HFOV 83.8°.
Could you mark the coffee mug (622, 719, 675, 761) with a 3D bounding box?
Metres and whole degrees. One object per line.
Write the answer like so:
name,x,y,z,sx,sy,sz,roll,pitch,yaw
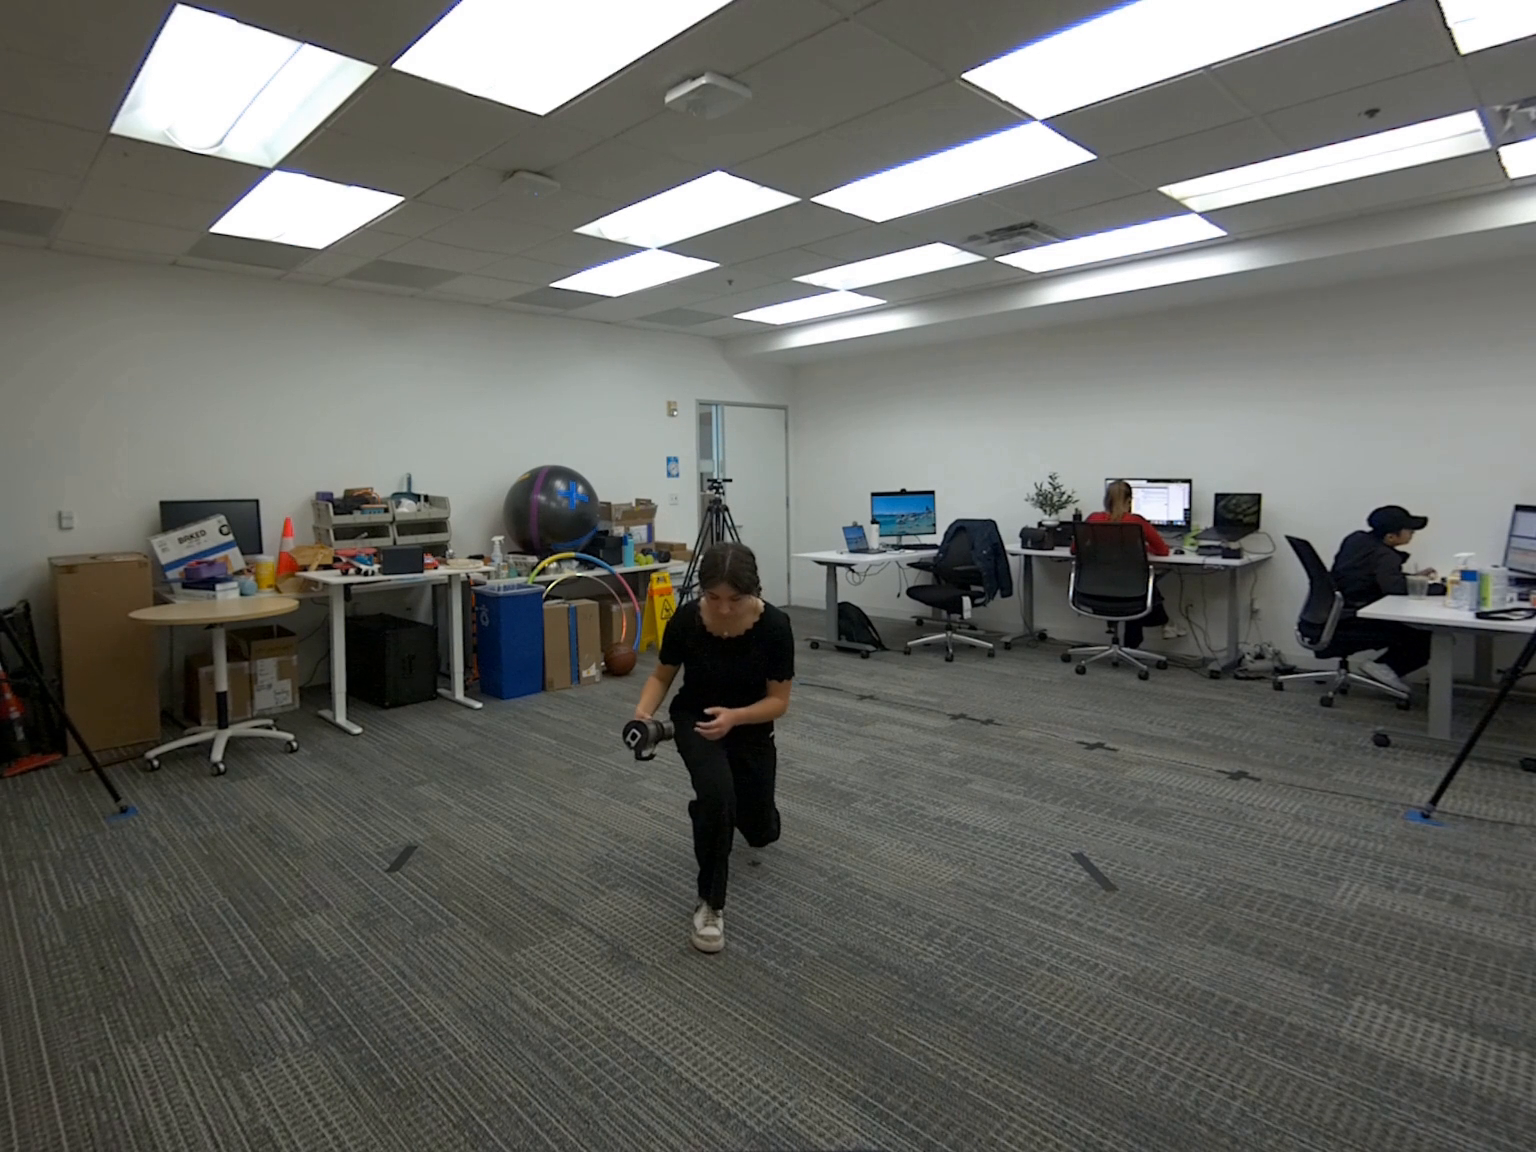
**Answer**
coffee mug,-0.356,0.498,2.613,0.089,0.123,0.198,0,-8,18
